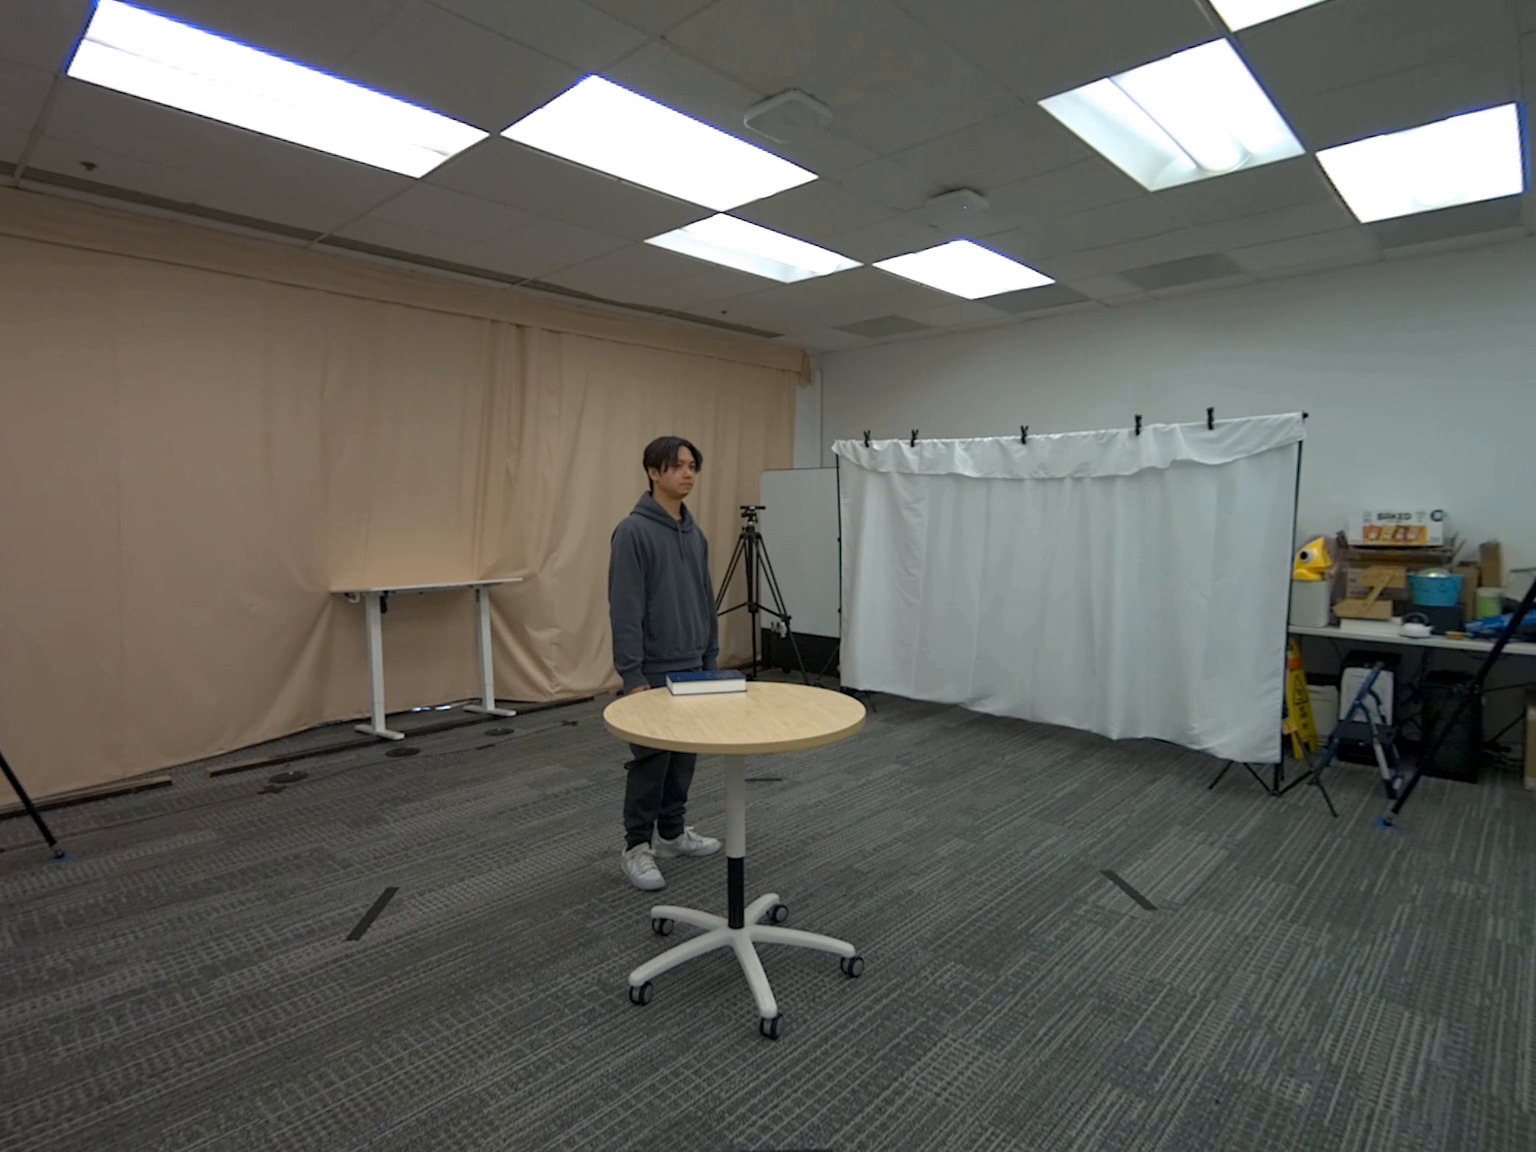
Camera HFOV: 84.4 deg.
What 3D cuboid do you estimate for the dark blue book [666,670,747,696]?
[{"bbox_3d":[-0.204,0.348,2.759,0.242,0.045,0.166,-2,4,-12],"label":"dark blue book"}]
